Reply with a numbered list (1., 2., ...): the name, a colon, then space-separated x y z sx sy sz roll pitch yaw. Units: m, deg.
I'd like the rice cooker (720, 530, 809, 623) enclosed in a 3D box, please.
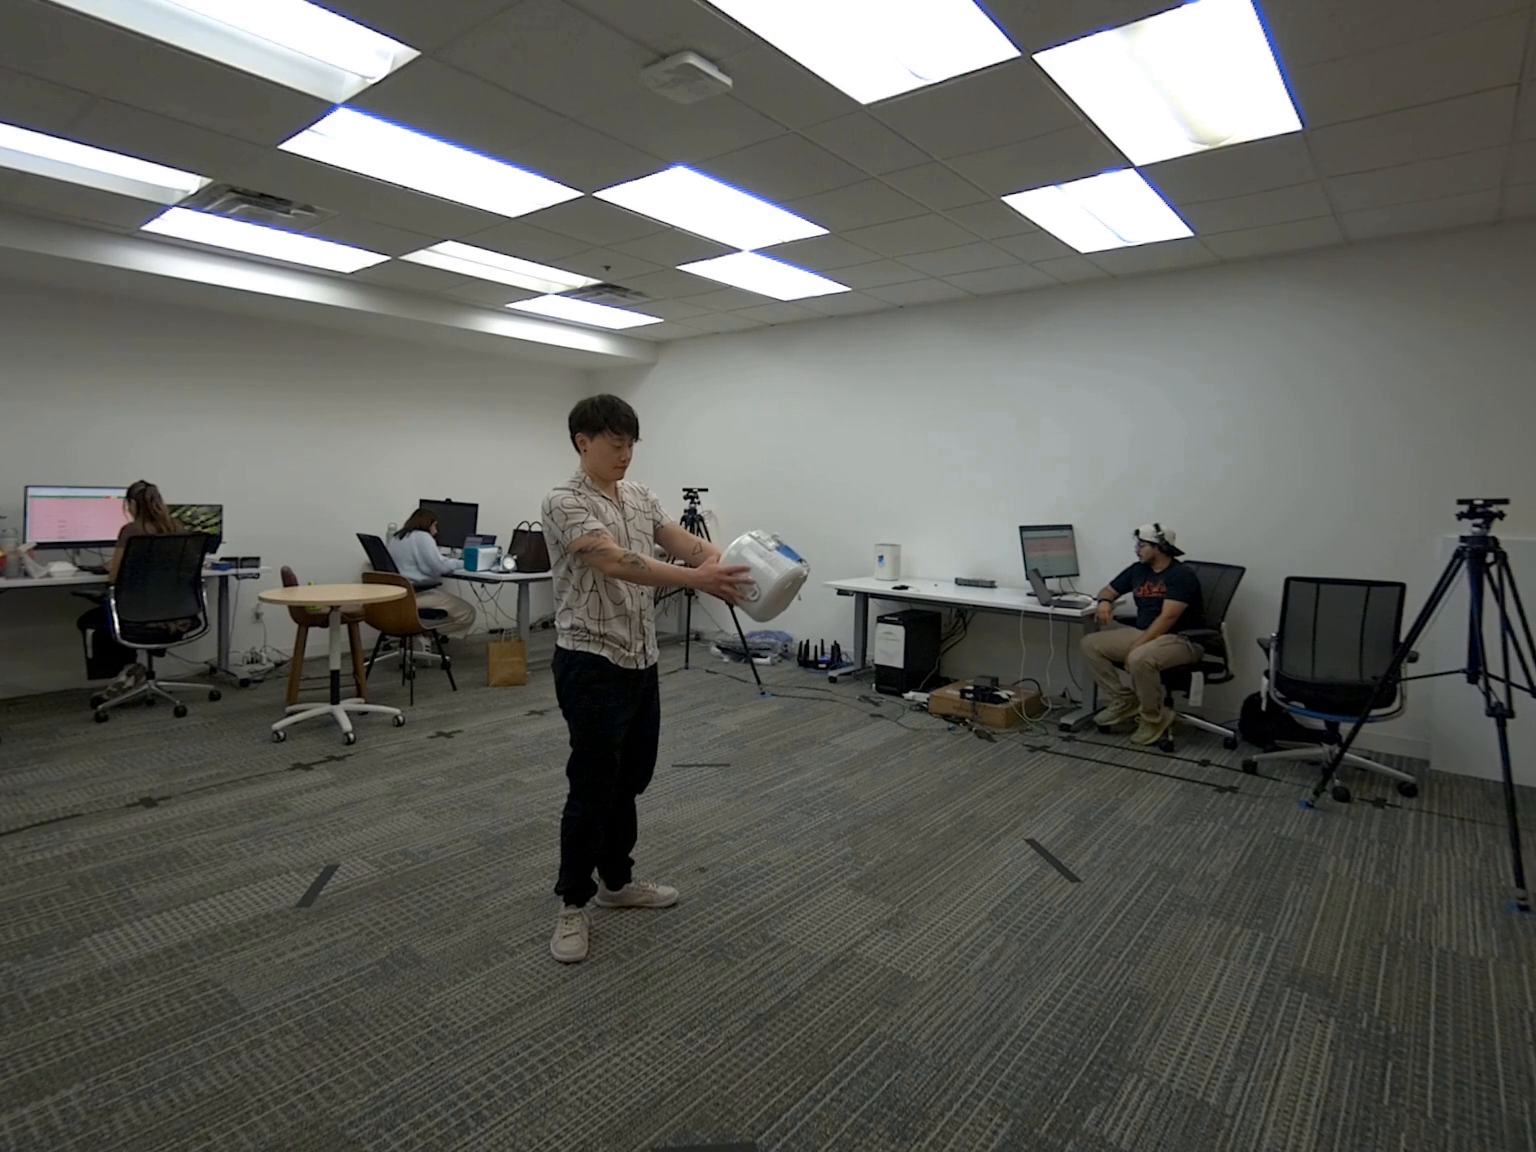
1. rice cooker: -0.046 -0.003 2.437 0.239 0.219 0.213 39 24 20
